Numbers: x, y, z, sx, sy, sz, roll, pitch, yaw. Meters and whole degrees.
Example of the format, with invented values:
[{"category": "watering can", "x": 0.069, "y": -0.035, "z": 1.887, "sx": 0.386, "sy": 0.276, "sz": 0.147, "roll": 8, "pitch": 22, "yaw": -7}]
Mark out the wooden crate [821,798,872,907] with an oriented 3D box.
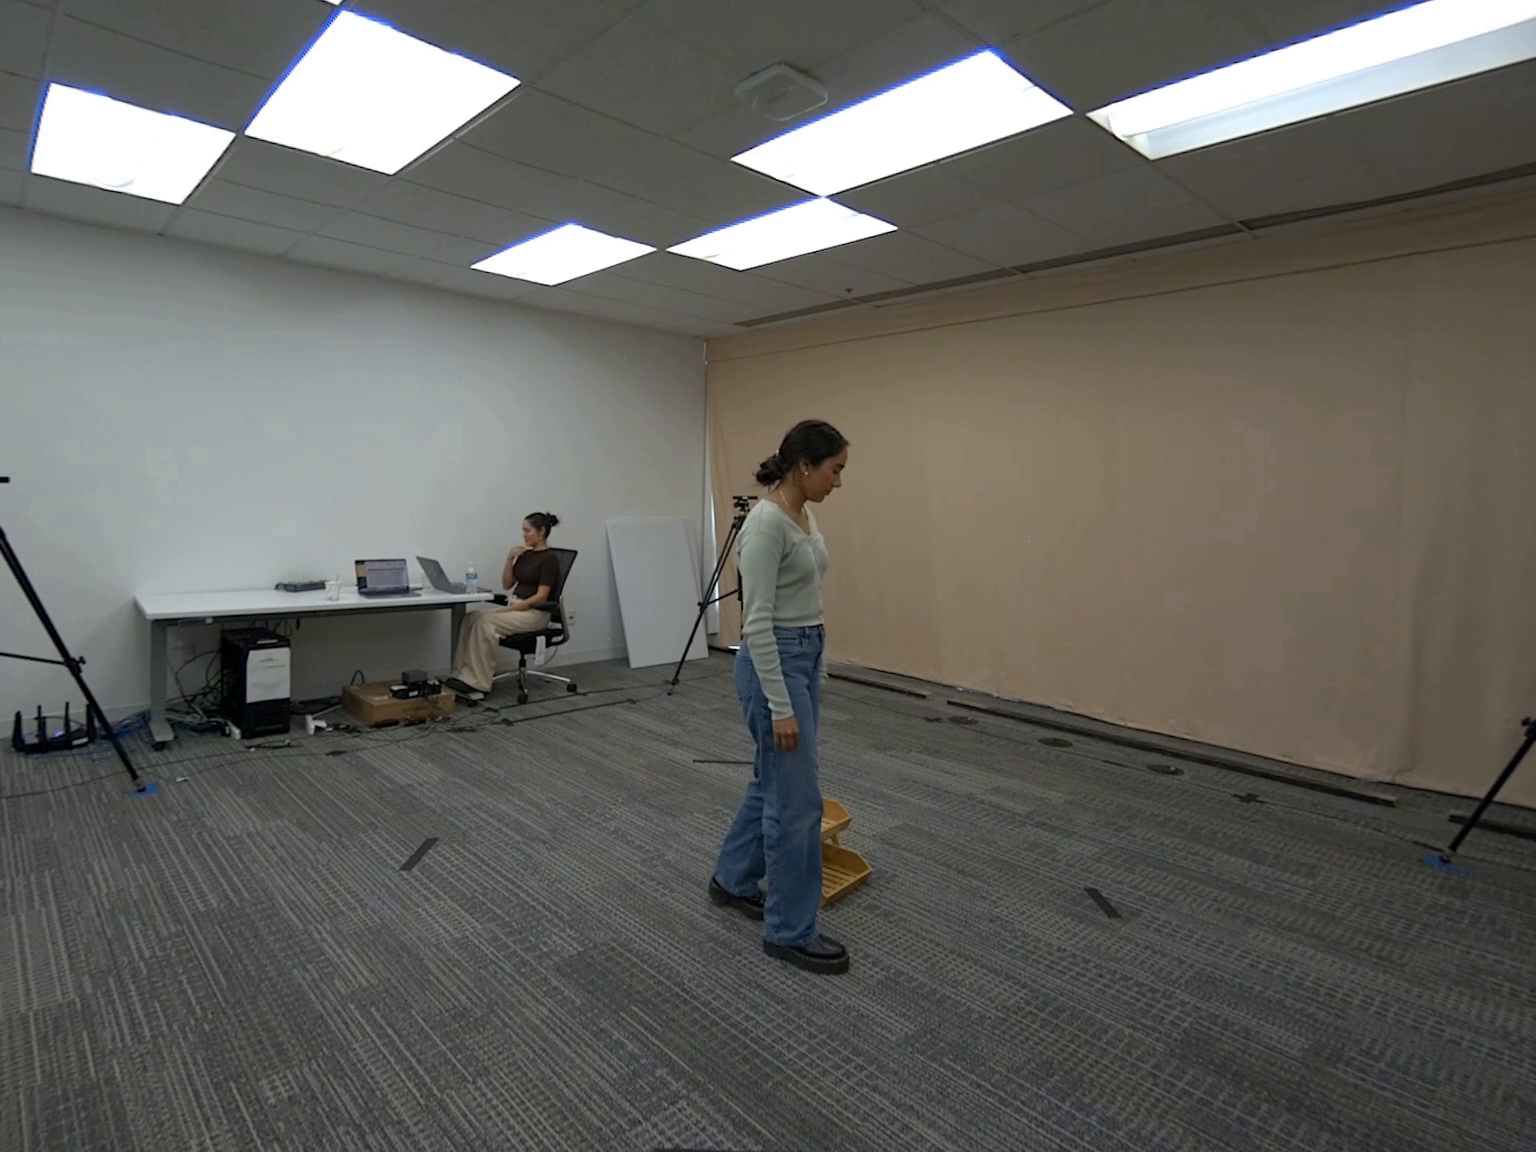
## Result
[{"category": "wooden crate", "x": 0.168, "y": 0.981, "z": 3.038, "sx": 0.309, "sy": 0.272, "sz": 0.317, "roll": 3, "pitch": 5, "yaw": 39}]
